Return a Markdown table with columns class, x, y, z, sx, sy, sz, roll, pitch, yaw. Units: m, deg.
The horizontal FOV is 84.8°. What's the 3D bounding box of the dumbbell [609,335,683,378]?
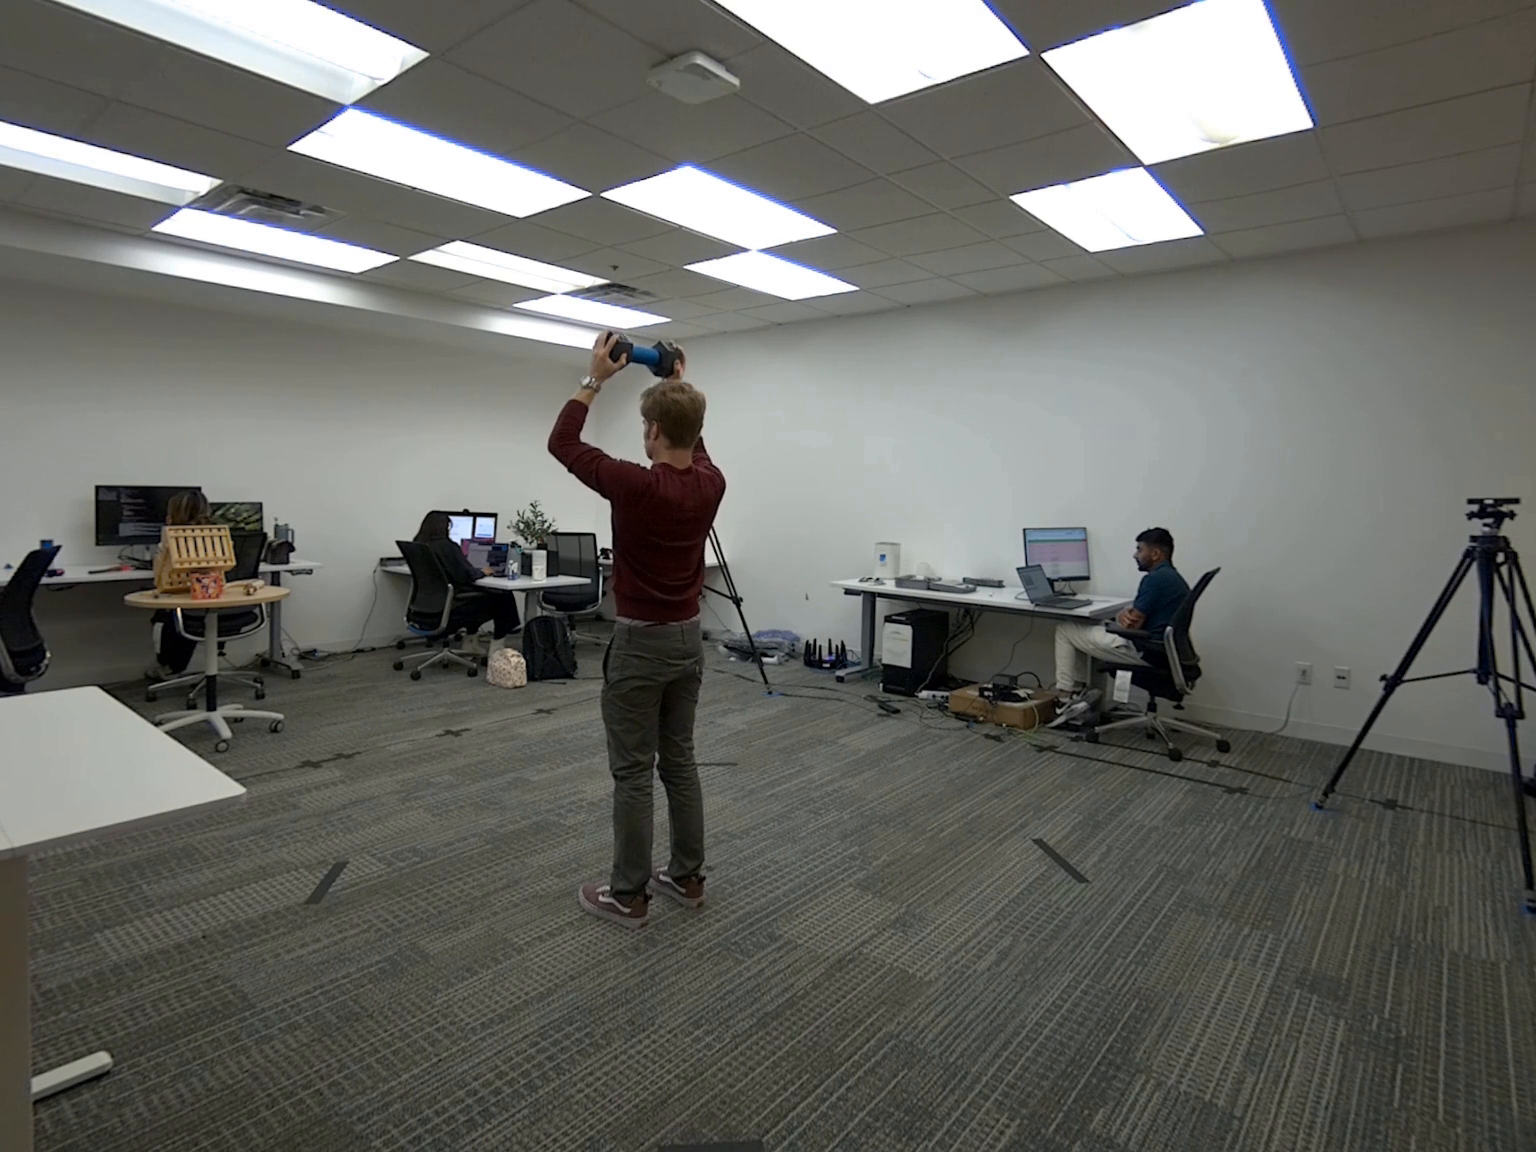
| class | x | y | z | sx | sy | sz | roll | pitch | yaw |
| --- | --- | --- | --- | --- | --- | --- | --- | --- | --- |
| dumbbell | -0.433 | -0.738 | 2.833 | 0.284 | 0.122 | 0.113 | -2 | 15 | -45 |
